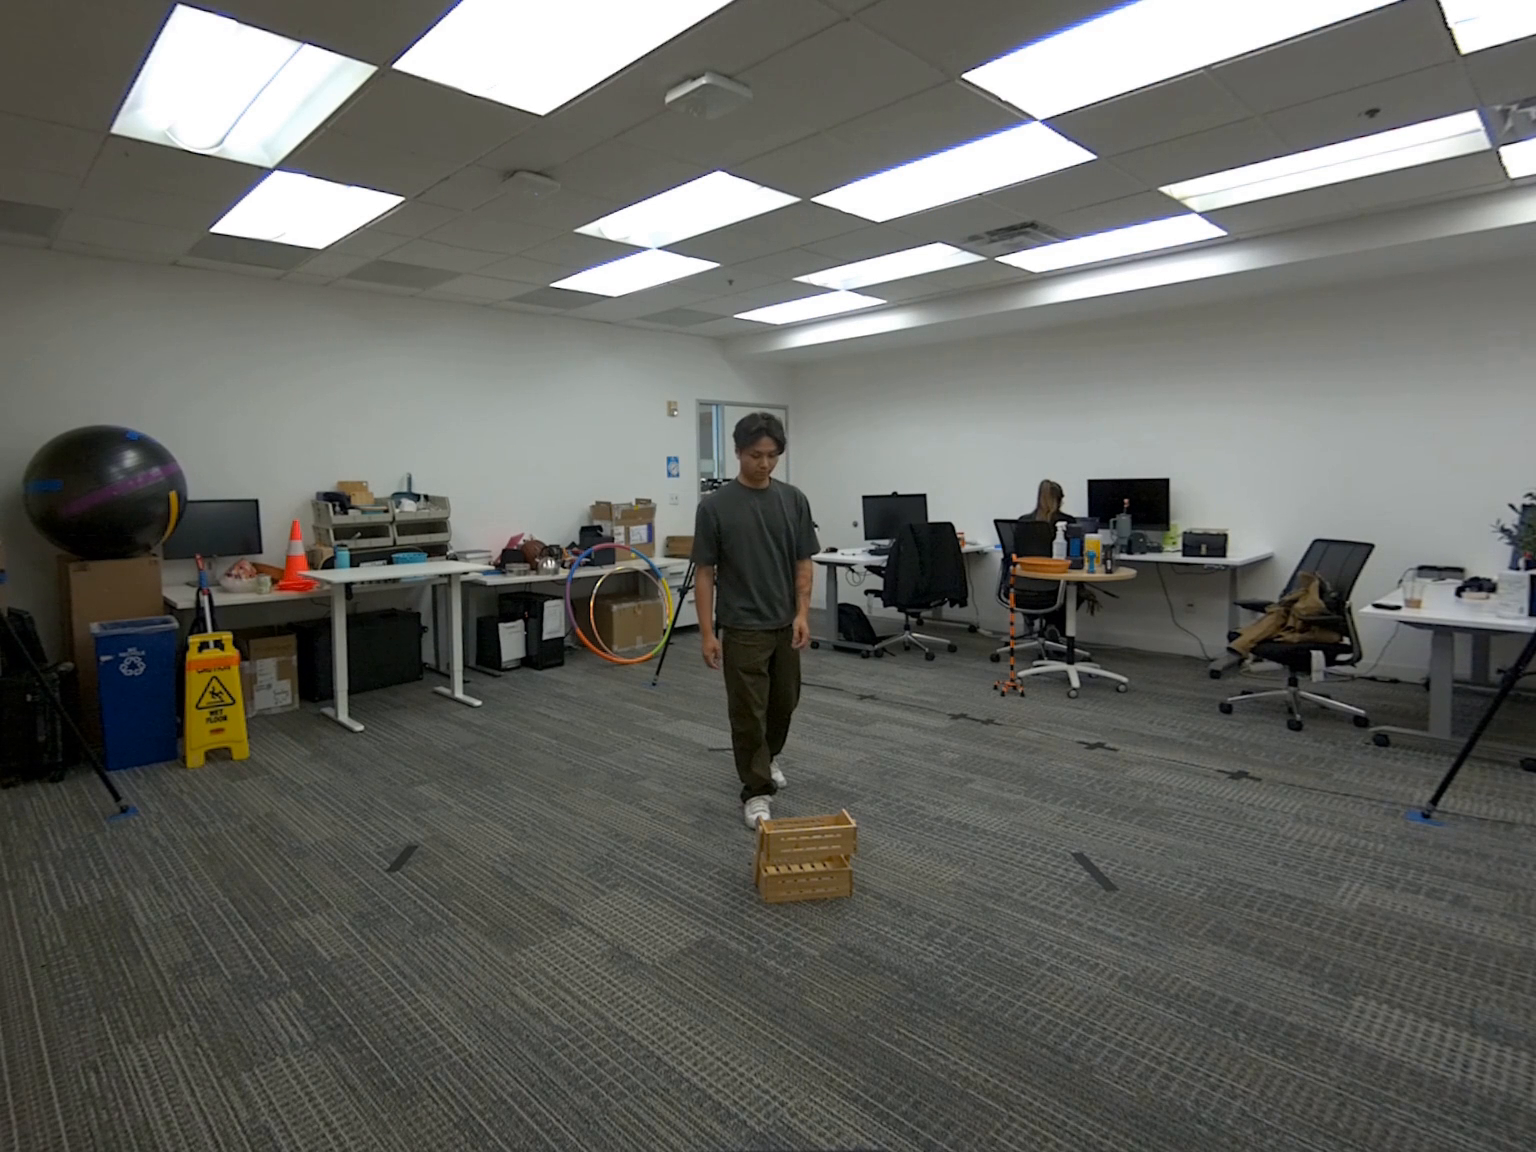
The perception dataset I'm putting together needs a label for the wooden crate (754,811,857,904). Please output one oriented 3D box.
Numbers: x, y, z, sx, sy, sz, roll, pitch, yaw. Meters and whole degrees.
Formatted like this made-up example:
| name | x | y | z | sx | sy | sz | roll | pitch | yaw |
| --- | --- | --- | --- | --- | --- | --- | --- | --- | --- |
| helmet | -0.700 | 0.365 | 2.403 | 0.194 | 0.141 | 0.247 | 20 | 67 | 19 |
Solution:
| name | x | y | z | sx | sy | sz | roll | pitch | yaw |
| --- | --- | --- | --- | --- | --- | --- | --- | --- | --- |
| wooden crate | 0.114 | 0.933 | 2.923 | 0.322 | 0.272 | 0.306 | -2 | 5 | -10 |
